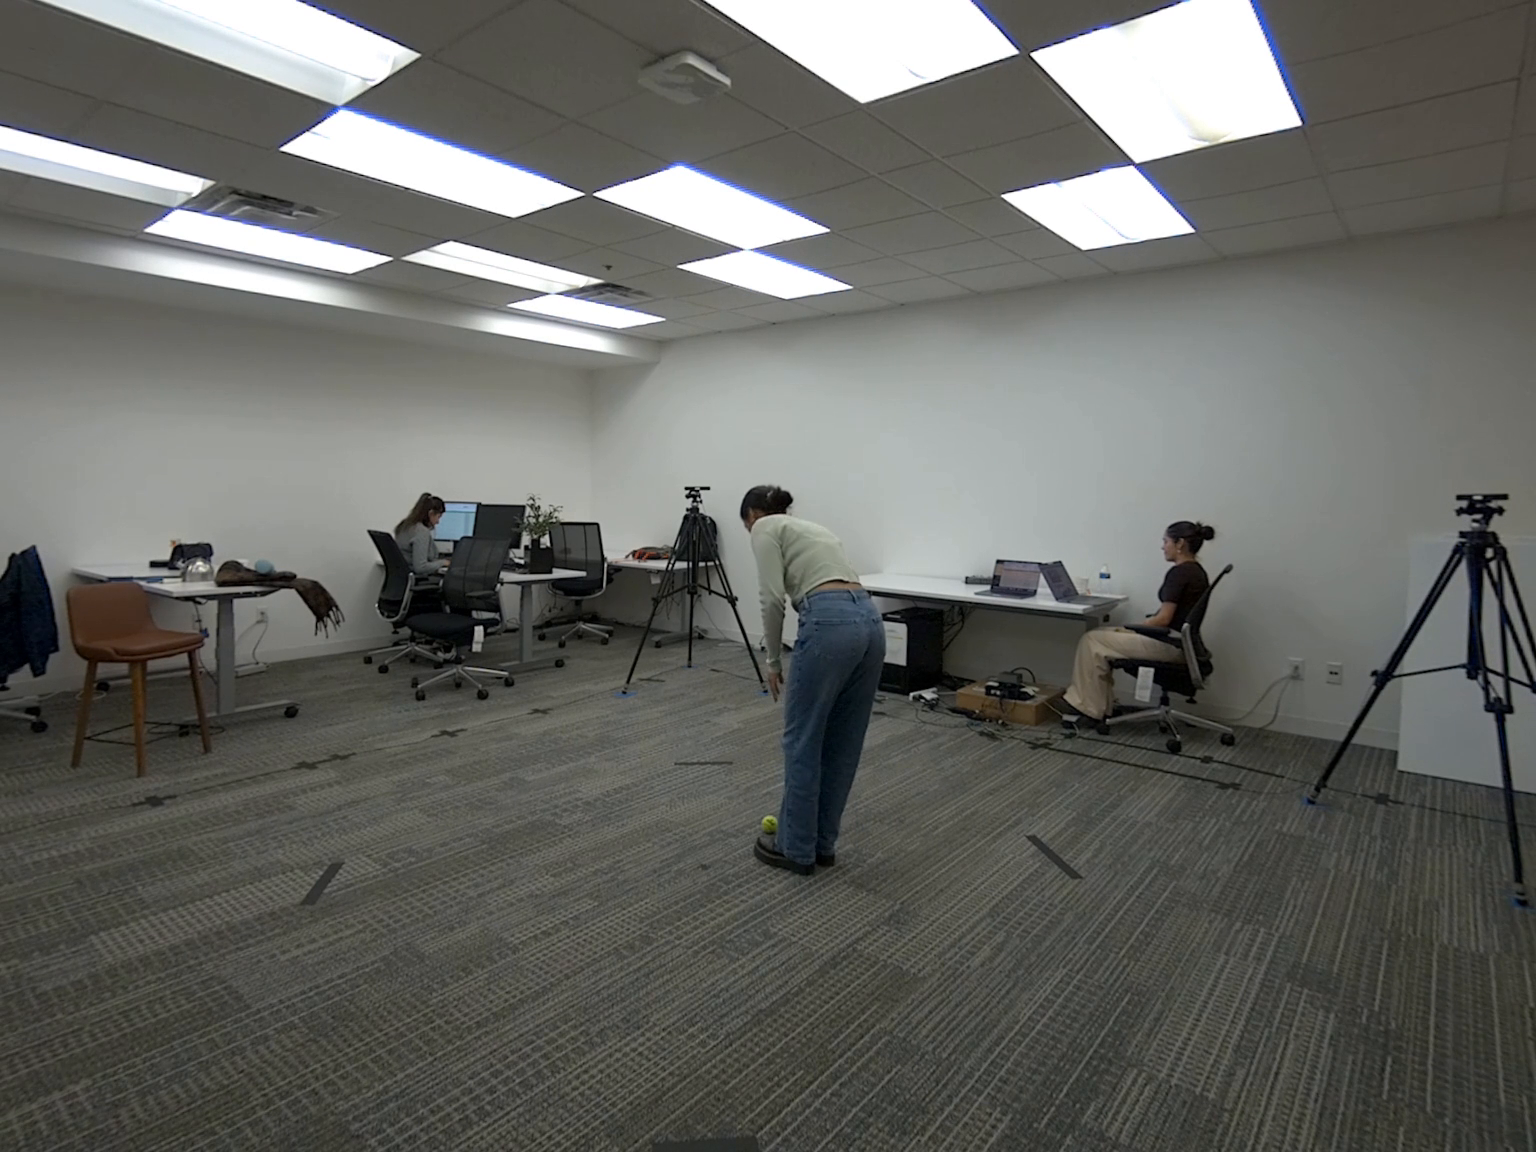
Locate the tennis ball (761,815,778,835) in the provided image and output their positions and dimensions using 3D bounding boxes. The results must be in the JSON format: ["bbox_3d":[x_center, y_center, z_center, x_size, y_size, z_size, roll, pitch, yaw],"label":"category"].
[{"bbox_3d":[-0.001,0.992,3.439,0.066,0.066,0.067,1,4,-2],"label":"tennis ball"}]
